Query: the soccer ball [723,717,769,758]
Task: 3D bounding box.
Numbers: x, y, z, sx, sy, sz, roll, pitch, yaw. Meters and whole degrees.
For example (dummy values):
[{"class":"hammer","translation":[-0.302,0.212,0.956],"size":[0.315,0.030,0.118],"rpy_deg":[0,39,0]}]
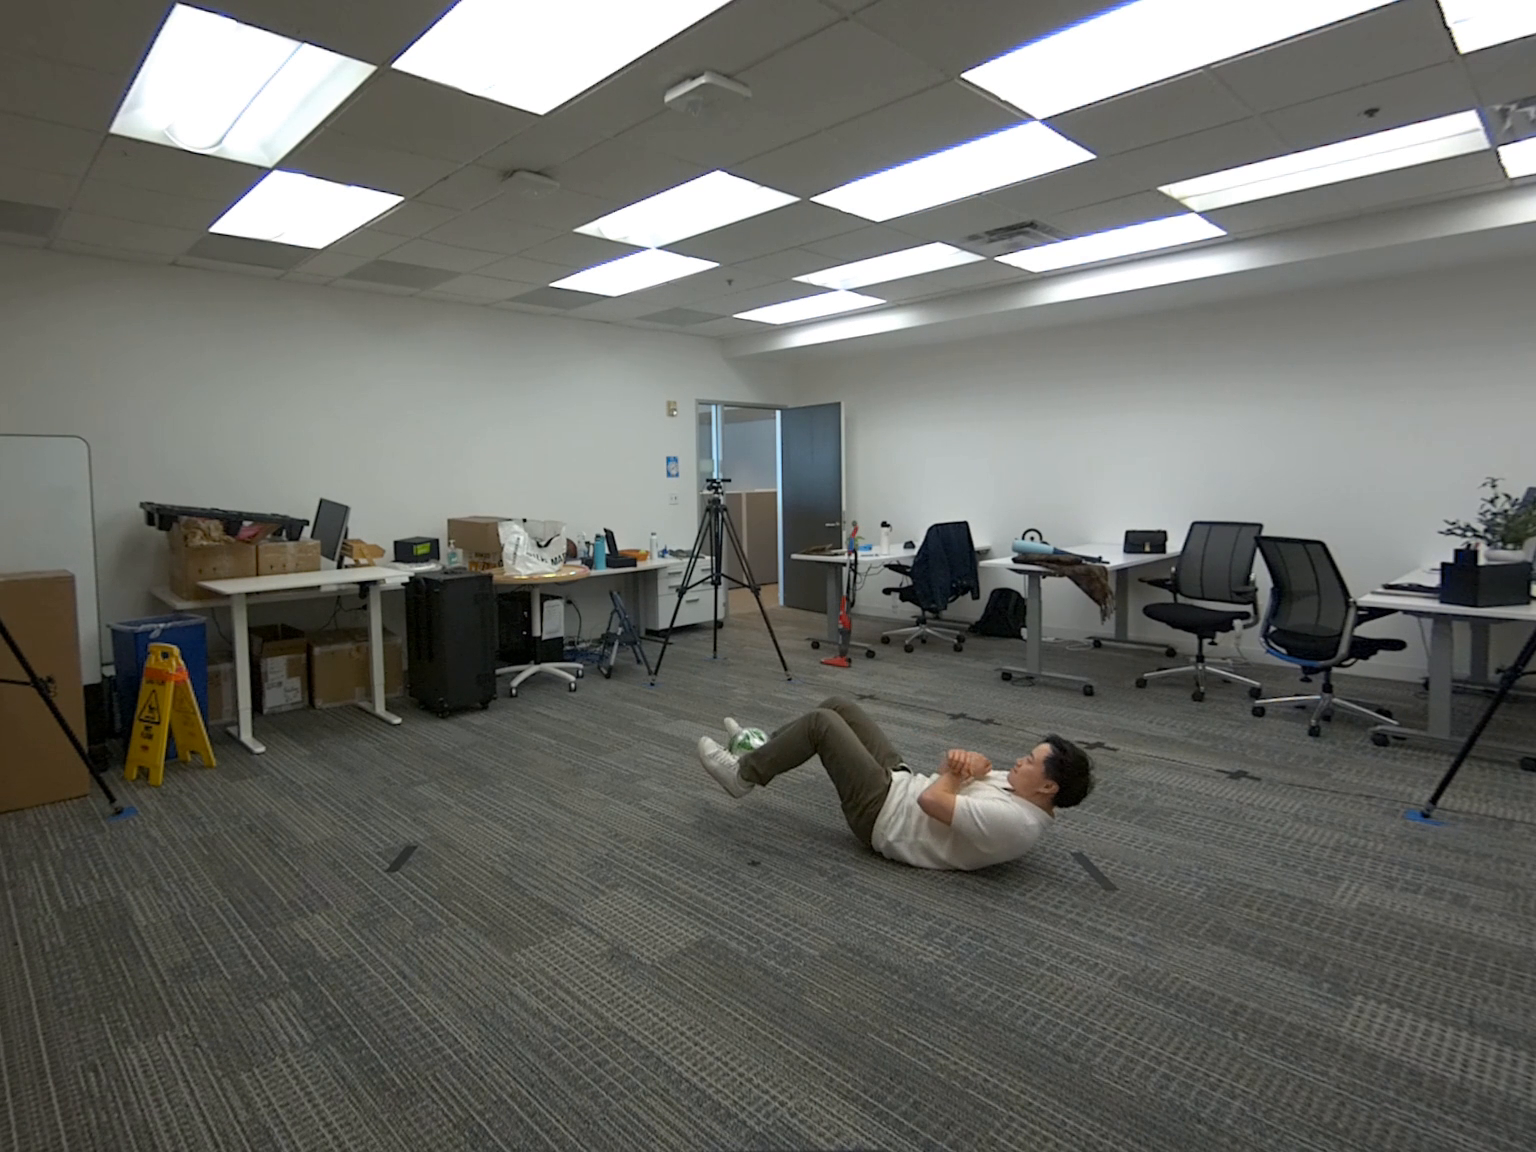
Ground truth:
[{"class":"soccer ball","translation":[-0.065,0.711,3.466],"size":[0.187,0.187,0.188],"rpy_deg":[-1,5,-2]}]
